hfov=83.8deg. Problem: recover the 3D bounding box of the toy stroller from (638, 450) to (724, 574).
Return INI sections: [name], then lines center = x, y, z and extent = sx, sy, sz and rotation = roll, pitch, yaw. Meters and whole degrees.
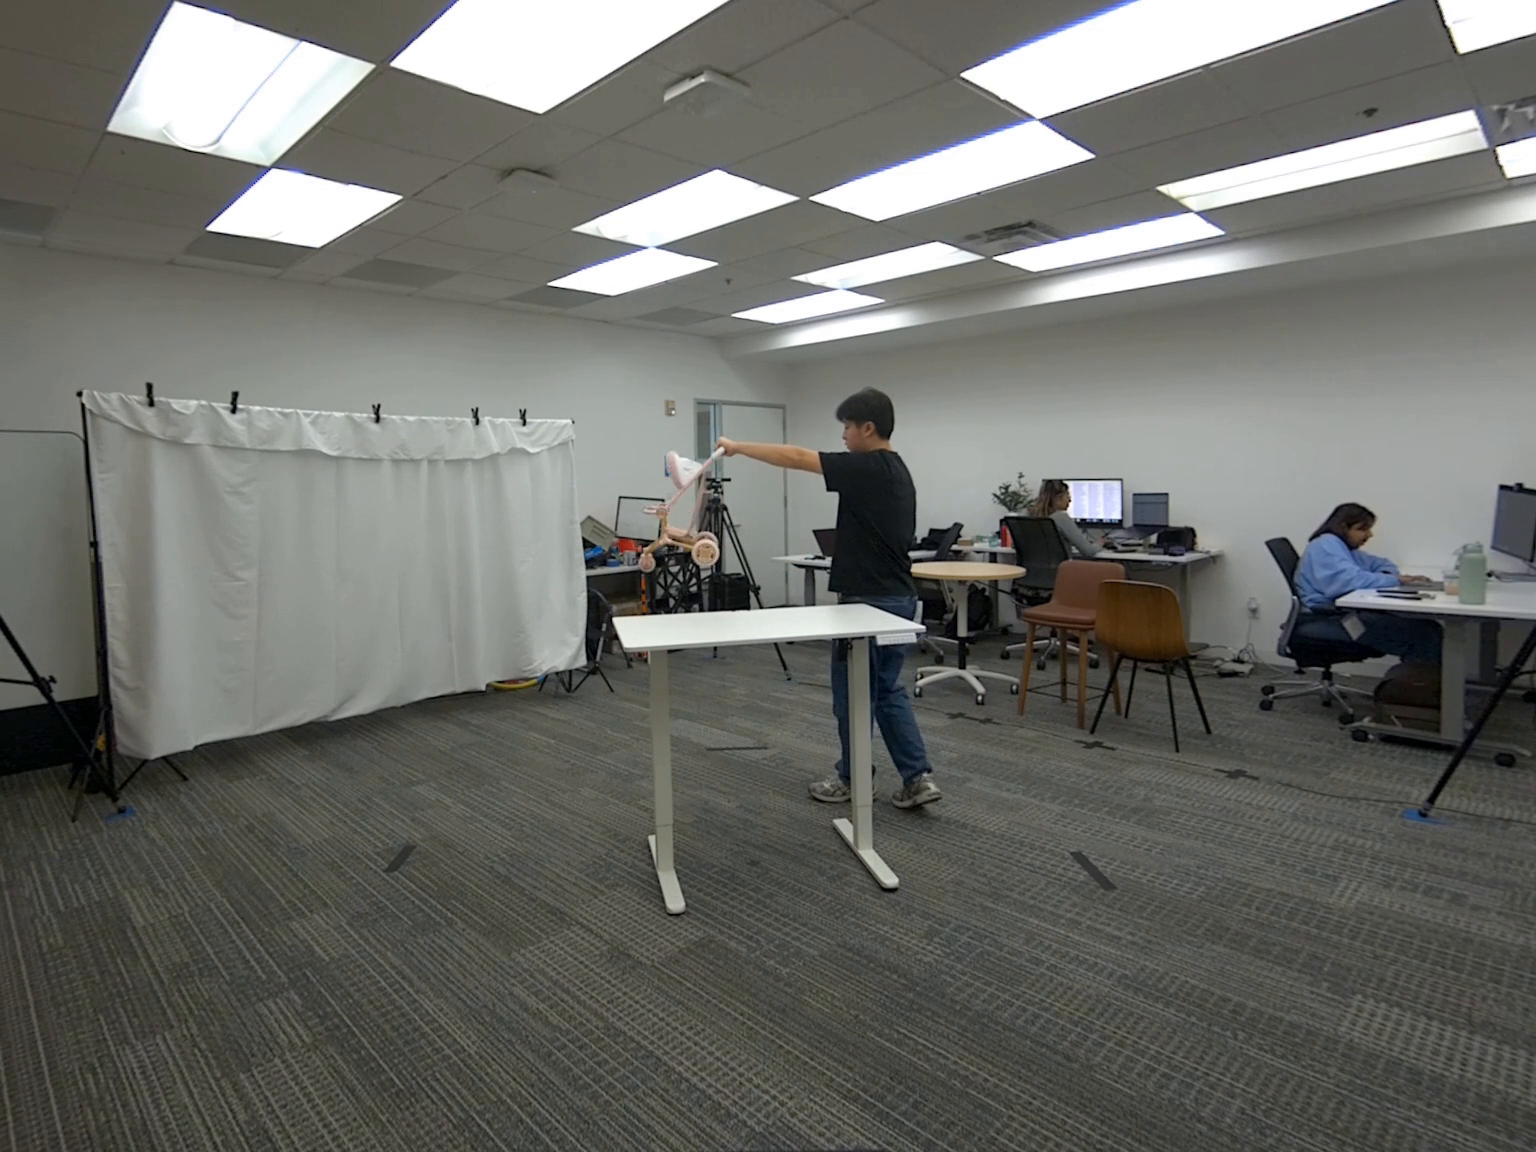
[toy stroller]
center = -0.358, -0.274, 3.509
extent = 0.342, 0.531, 0.283
rotation = 4, 9, 2
